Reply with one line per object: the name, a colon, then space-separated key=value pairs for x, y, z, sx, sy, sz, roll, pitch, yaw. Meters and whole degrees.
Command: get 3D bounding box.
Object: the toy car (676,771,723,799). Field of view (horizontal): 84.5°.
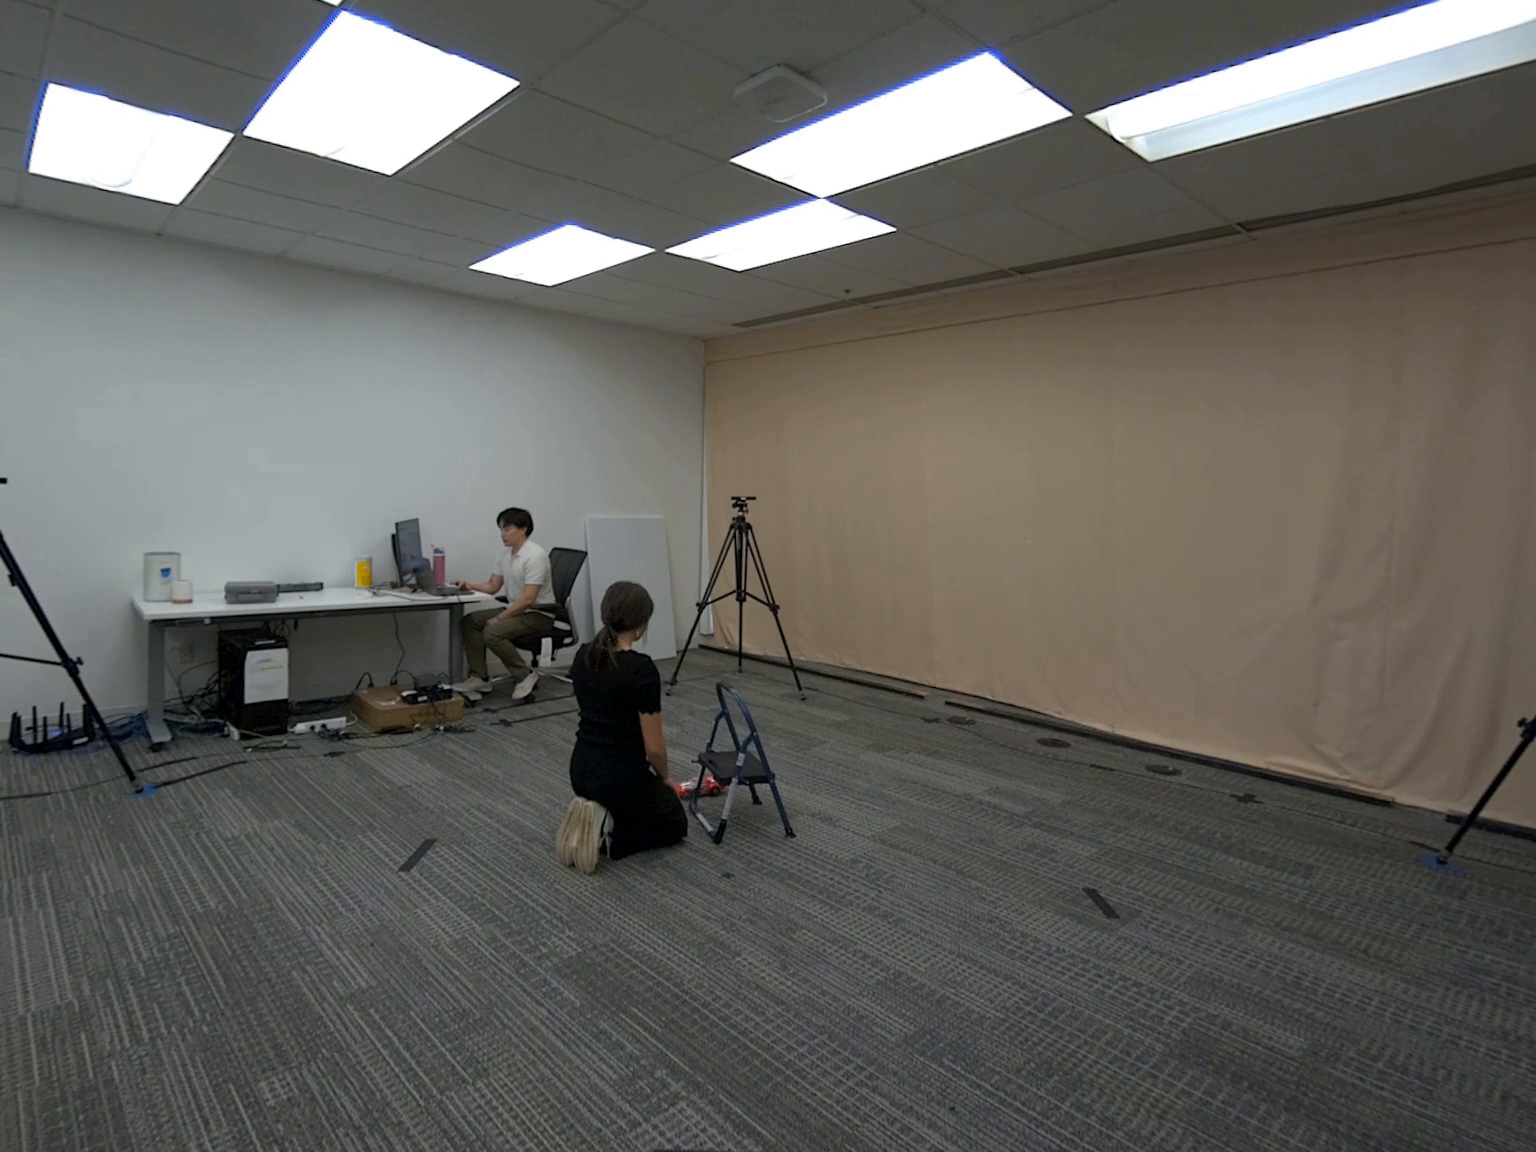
toy car: x=-0.332 y=1.001 z=3.973 sx=0.251 sy=0.083 sz=0.133 roll=-12 pitch=9 yaw=-24
